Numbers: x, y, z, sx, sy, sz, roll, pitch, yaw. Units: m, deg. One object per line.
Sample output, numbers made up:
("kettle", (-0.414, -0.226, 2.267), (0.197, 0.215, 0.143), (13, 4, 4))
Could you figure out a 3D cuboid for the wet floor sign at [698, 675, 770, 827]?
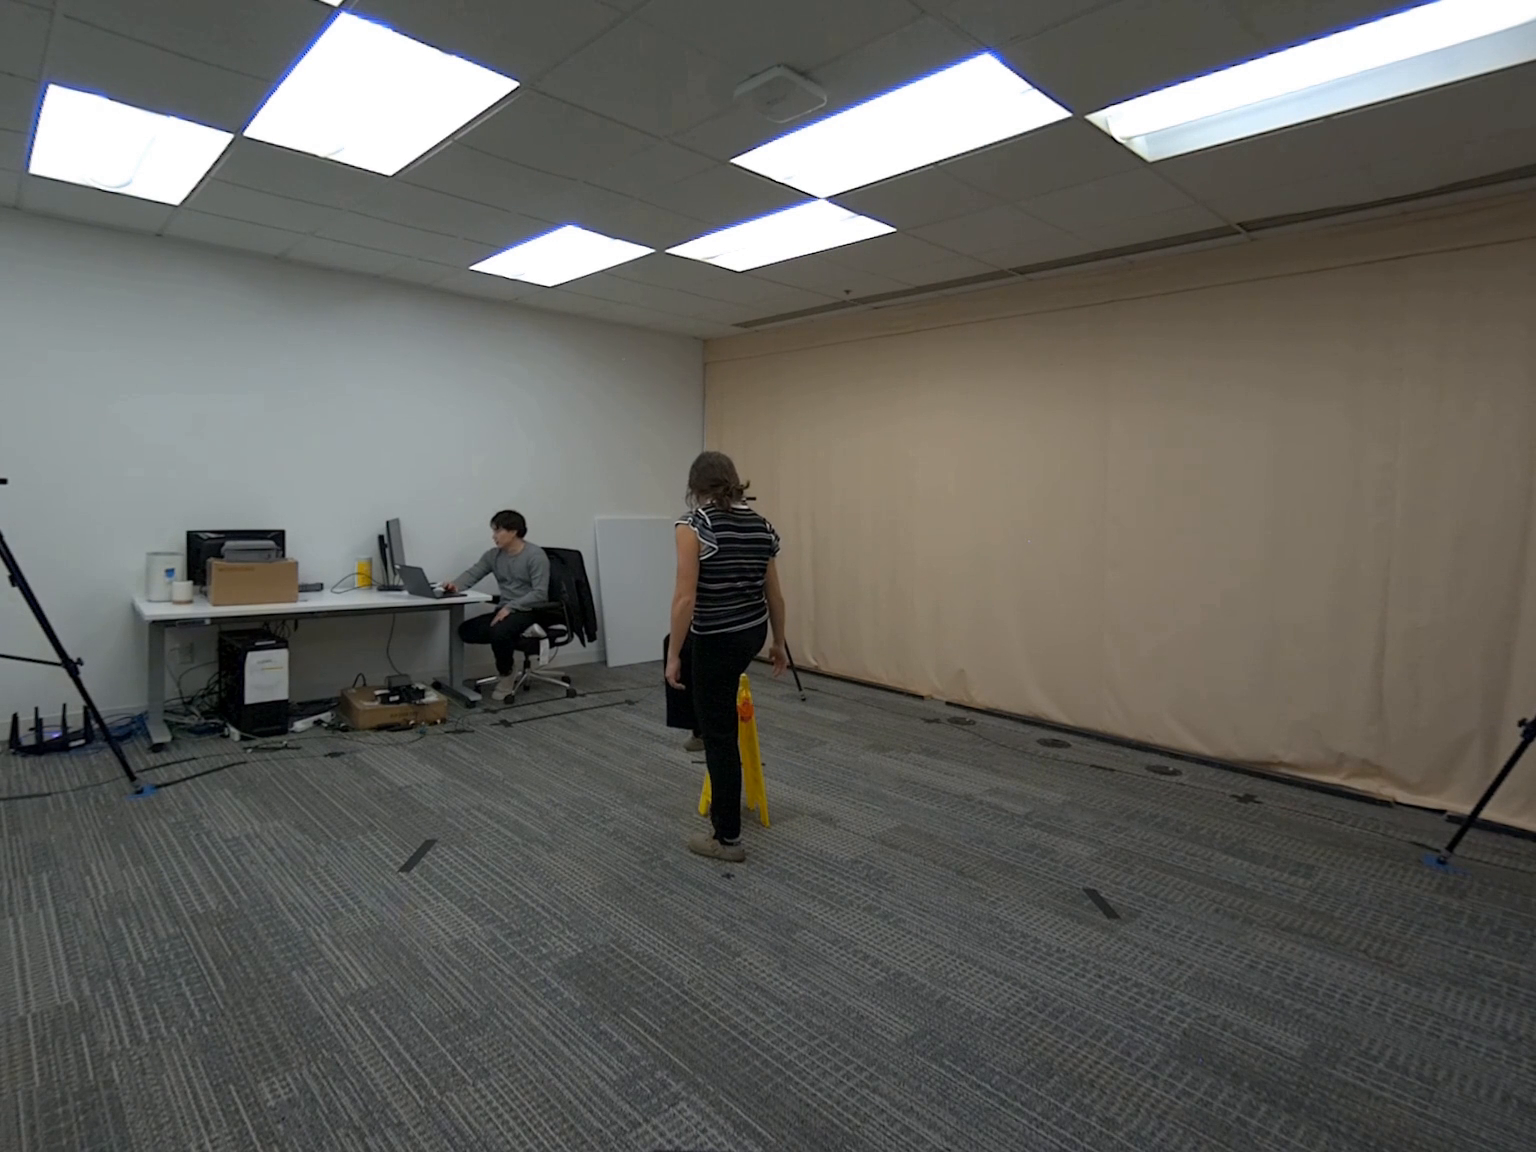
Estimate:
("wet floor sign", (-0.146, 0.733, 3.655), (0.286, 0.645, 0.286), (1, 1, -17))
